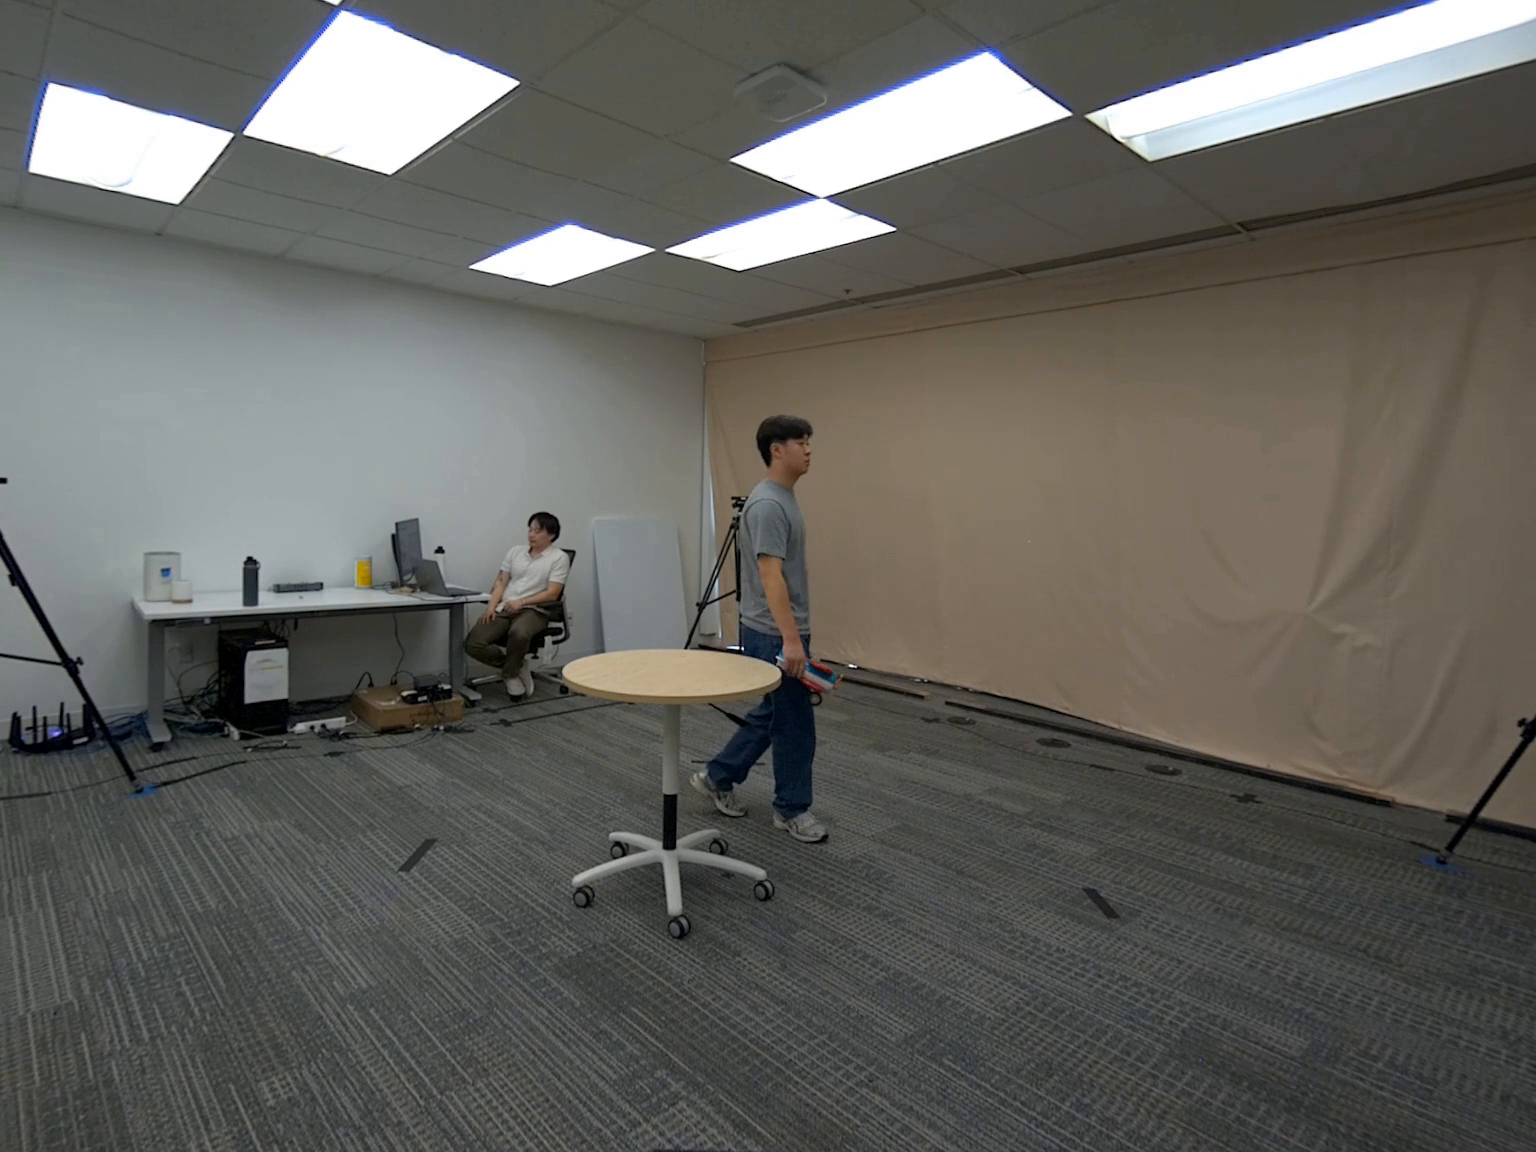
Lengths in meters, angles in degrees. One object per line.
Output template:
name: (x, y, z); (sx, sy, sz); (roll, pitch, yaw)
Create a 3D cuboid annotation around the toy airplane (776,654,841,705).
toy airplane: (0.132, 0.375, 3.236); (0.254, 0.156, 0.256); (40, -1, -22)
